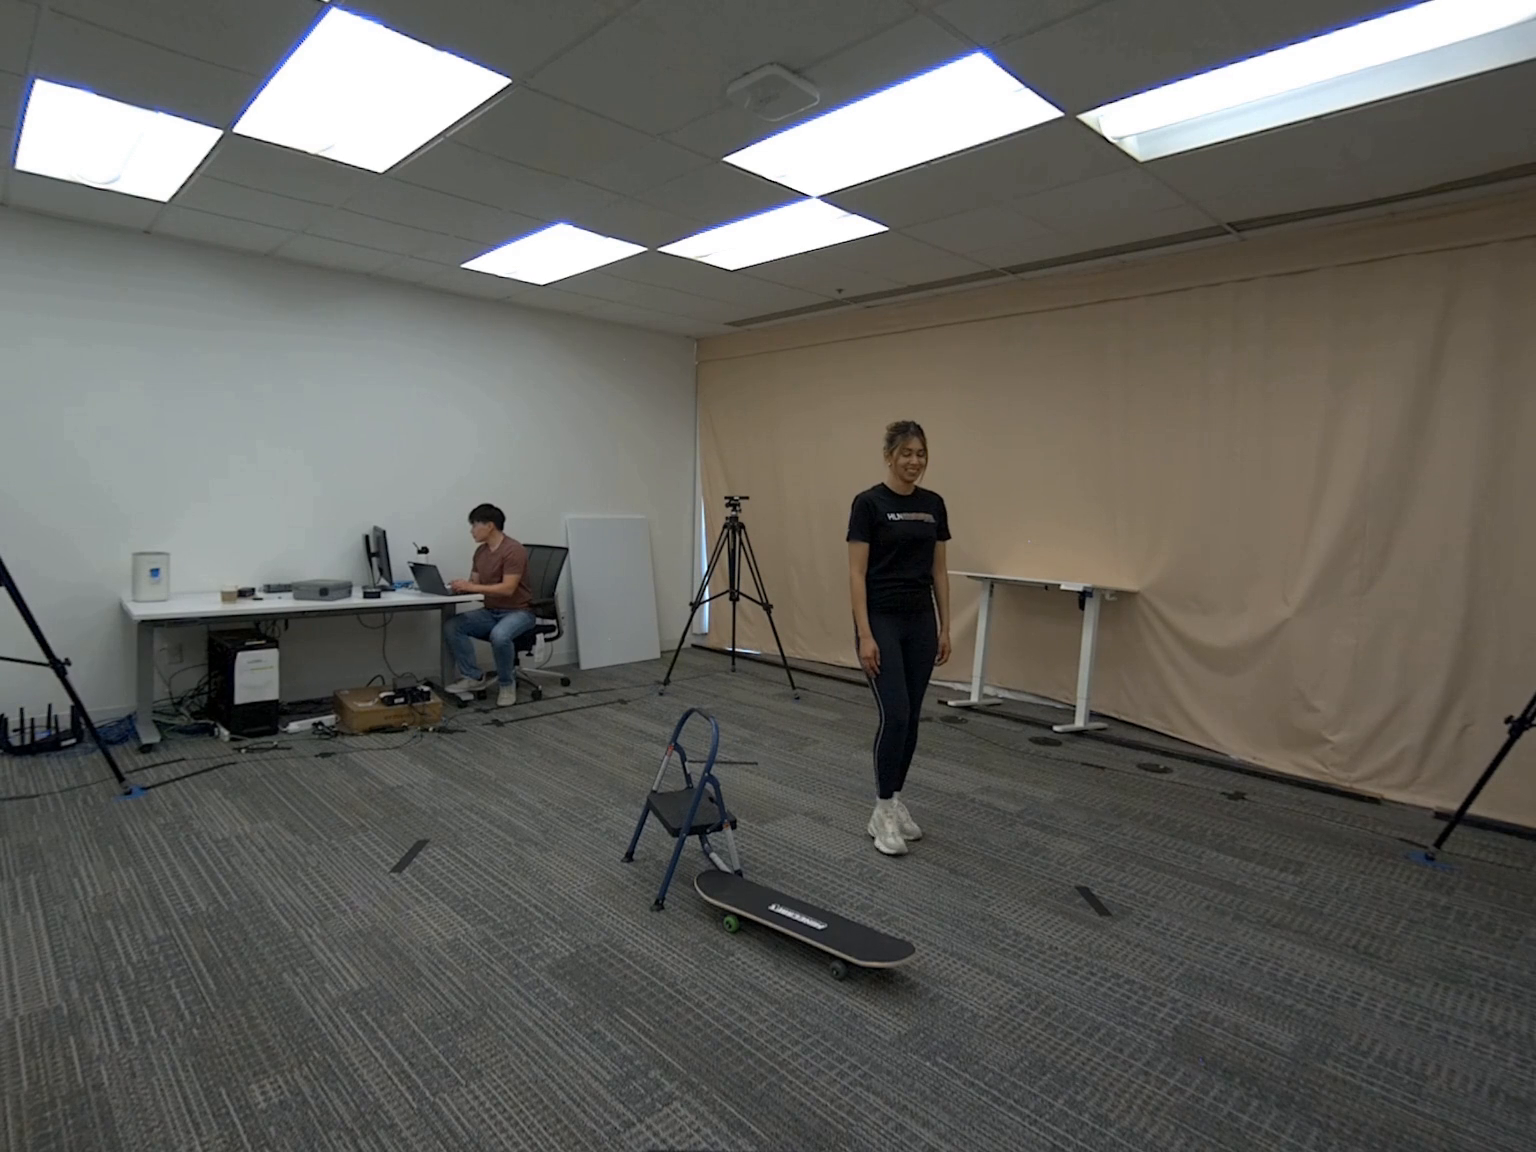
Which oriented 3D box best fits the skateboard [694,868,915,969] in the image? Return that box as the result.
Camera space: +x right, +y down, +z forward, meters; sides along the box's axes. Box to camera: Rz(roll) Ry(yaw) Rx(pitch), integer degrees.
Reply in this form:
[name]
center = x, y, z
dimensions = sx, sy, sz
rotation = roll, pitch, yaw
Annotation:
[skateboard]
center = 0.082, 1.099, 2.629
dimensions = 0.805, 0.110, 0.189
rotation = 5, 5, 37
